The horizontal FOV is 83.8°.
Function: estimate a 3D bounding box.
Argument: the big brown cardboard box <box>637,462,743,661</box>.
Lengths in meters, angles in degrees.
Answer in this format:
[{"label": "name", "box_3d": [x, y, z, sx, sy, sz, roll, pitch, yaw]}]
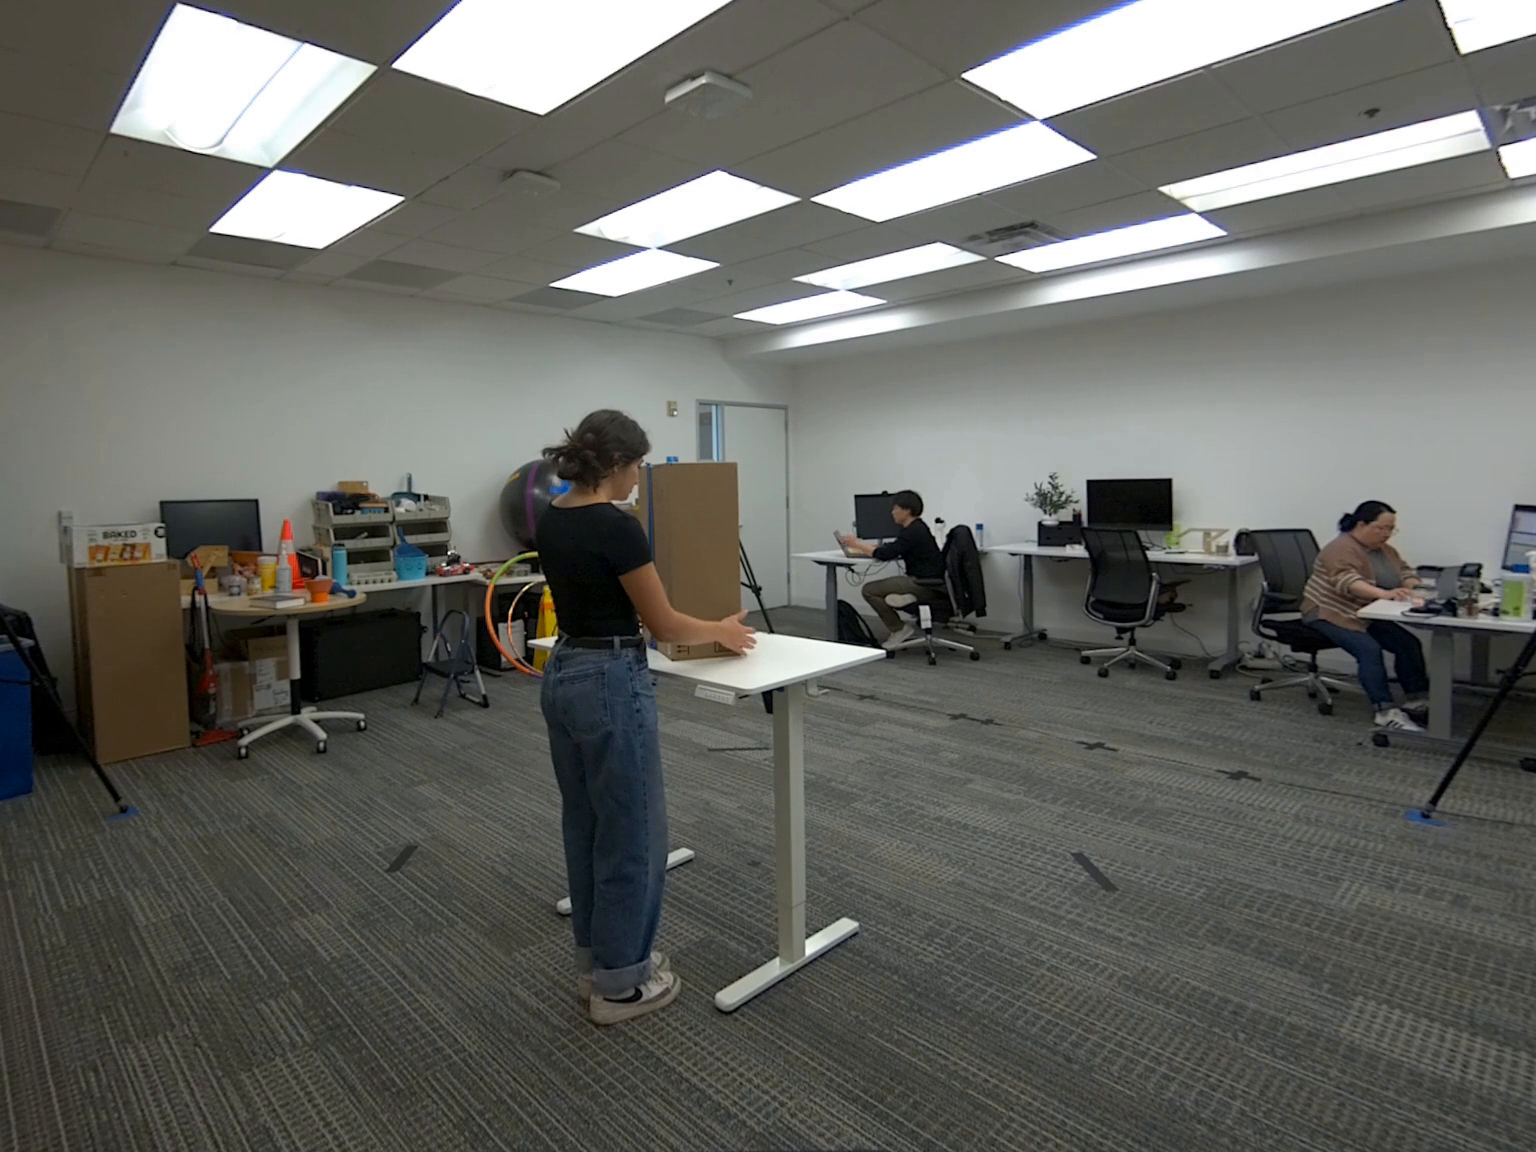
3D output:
[{"label": "big brown cardboard box", "box_3d": [-0.248, -0.062, 2.652, 0.229, 0.588, 0.425, -1, 3, -19]}]
